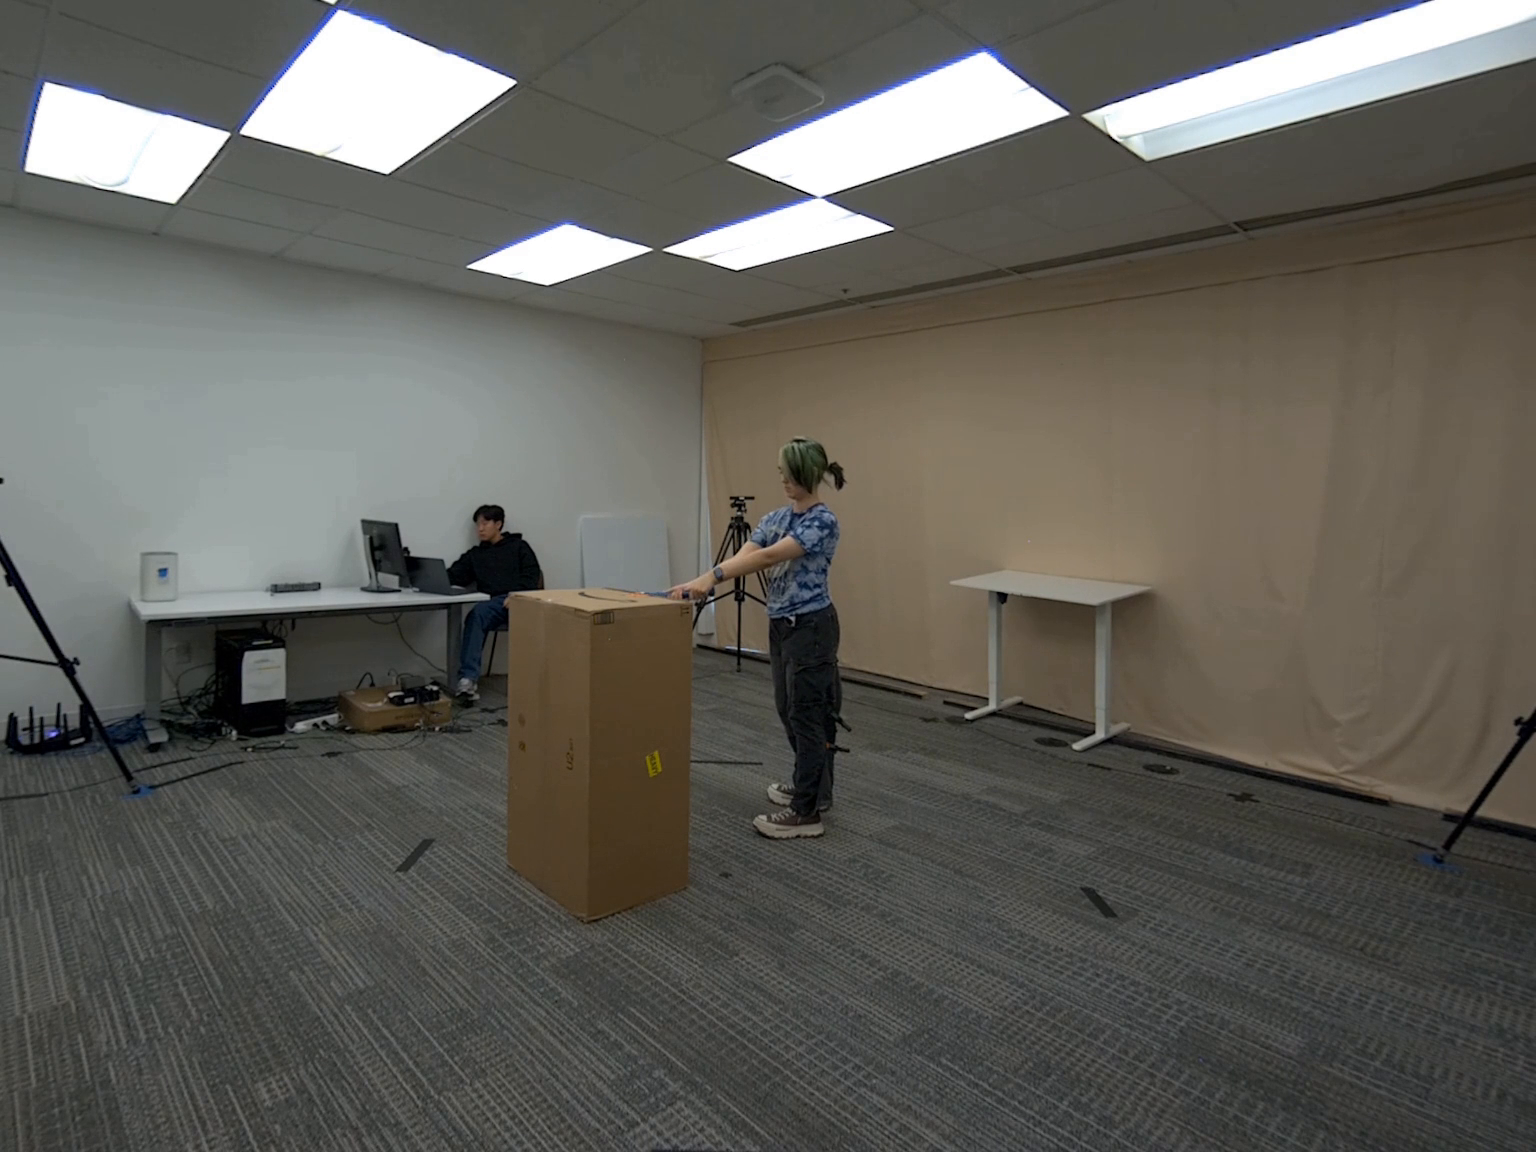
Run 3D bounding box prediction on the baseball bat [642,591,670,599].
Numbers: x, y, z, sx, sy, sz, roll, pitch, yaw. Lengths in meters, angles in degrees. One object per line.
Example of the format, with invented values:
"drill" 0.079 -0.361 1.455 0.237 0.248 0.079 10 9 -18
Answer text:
"baseball bat" -0.491 0.092 3.434 0.548 0.089 0.088 -10 1 15
